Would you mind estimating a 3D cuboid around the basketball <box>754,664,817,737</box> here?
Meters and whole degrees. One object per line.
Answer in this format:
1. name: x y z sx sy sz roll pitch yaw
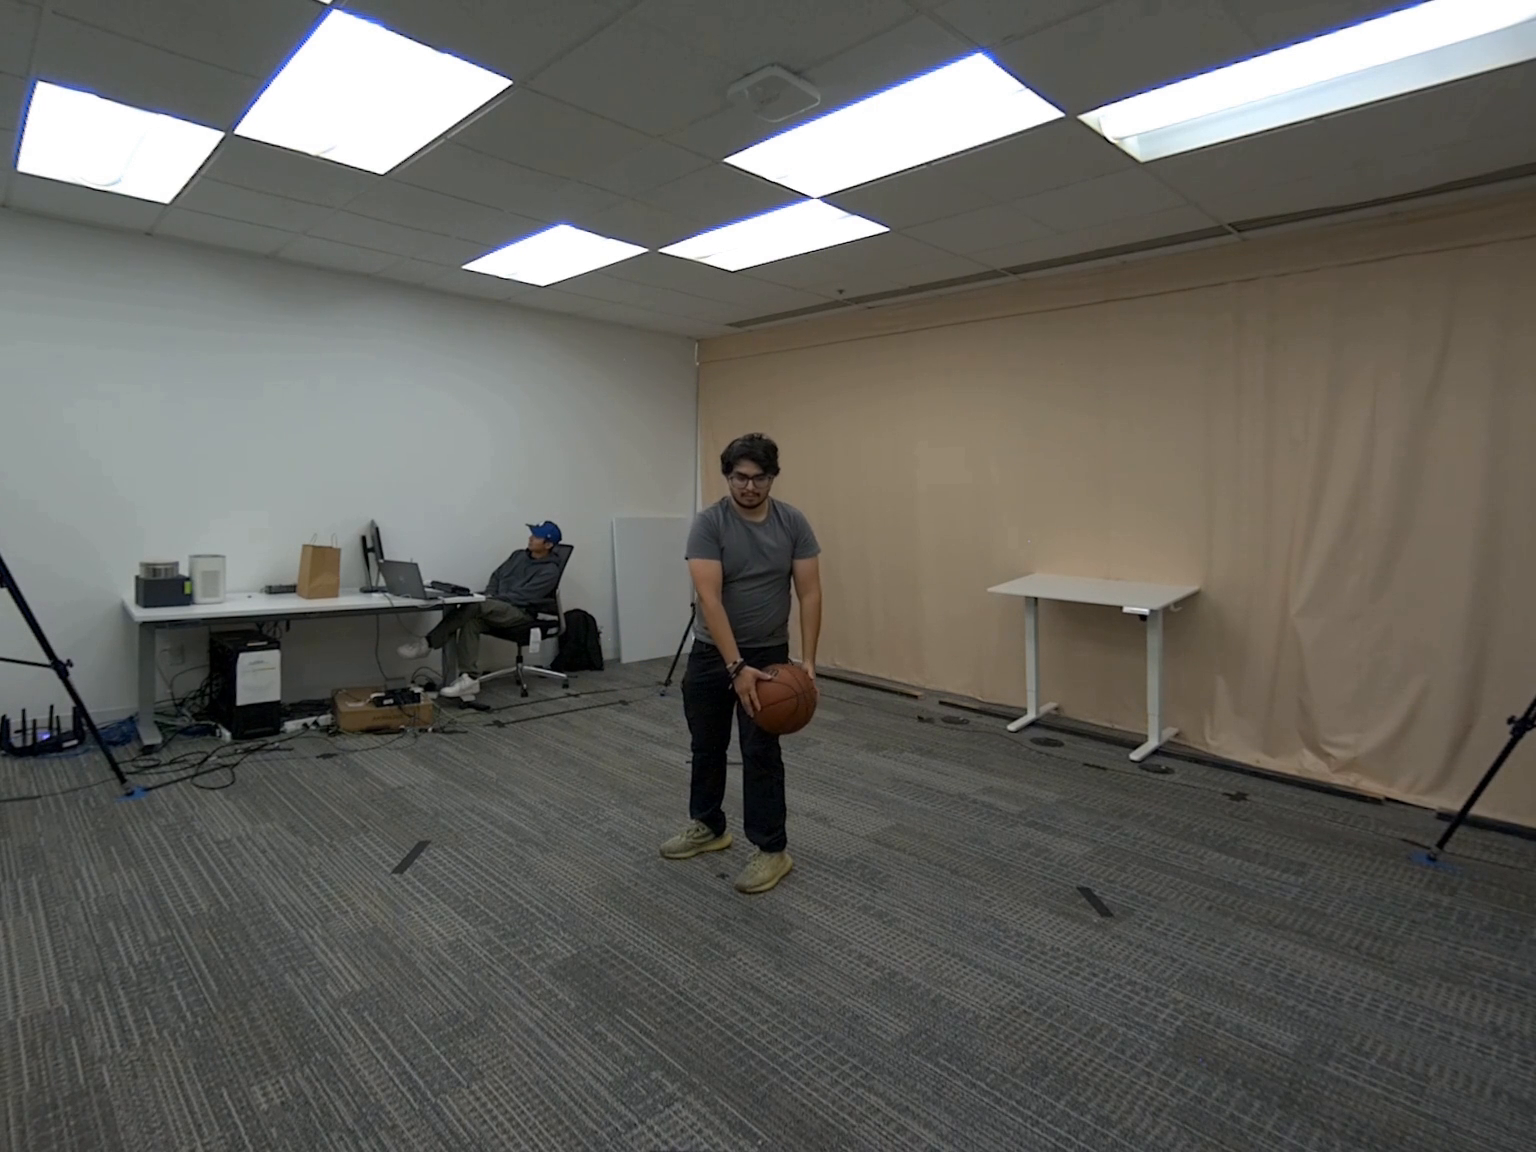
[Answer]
1. basketball: 0.044 0.417 2.860 0.236 0.235 0.237 1 4 -1
